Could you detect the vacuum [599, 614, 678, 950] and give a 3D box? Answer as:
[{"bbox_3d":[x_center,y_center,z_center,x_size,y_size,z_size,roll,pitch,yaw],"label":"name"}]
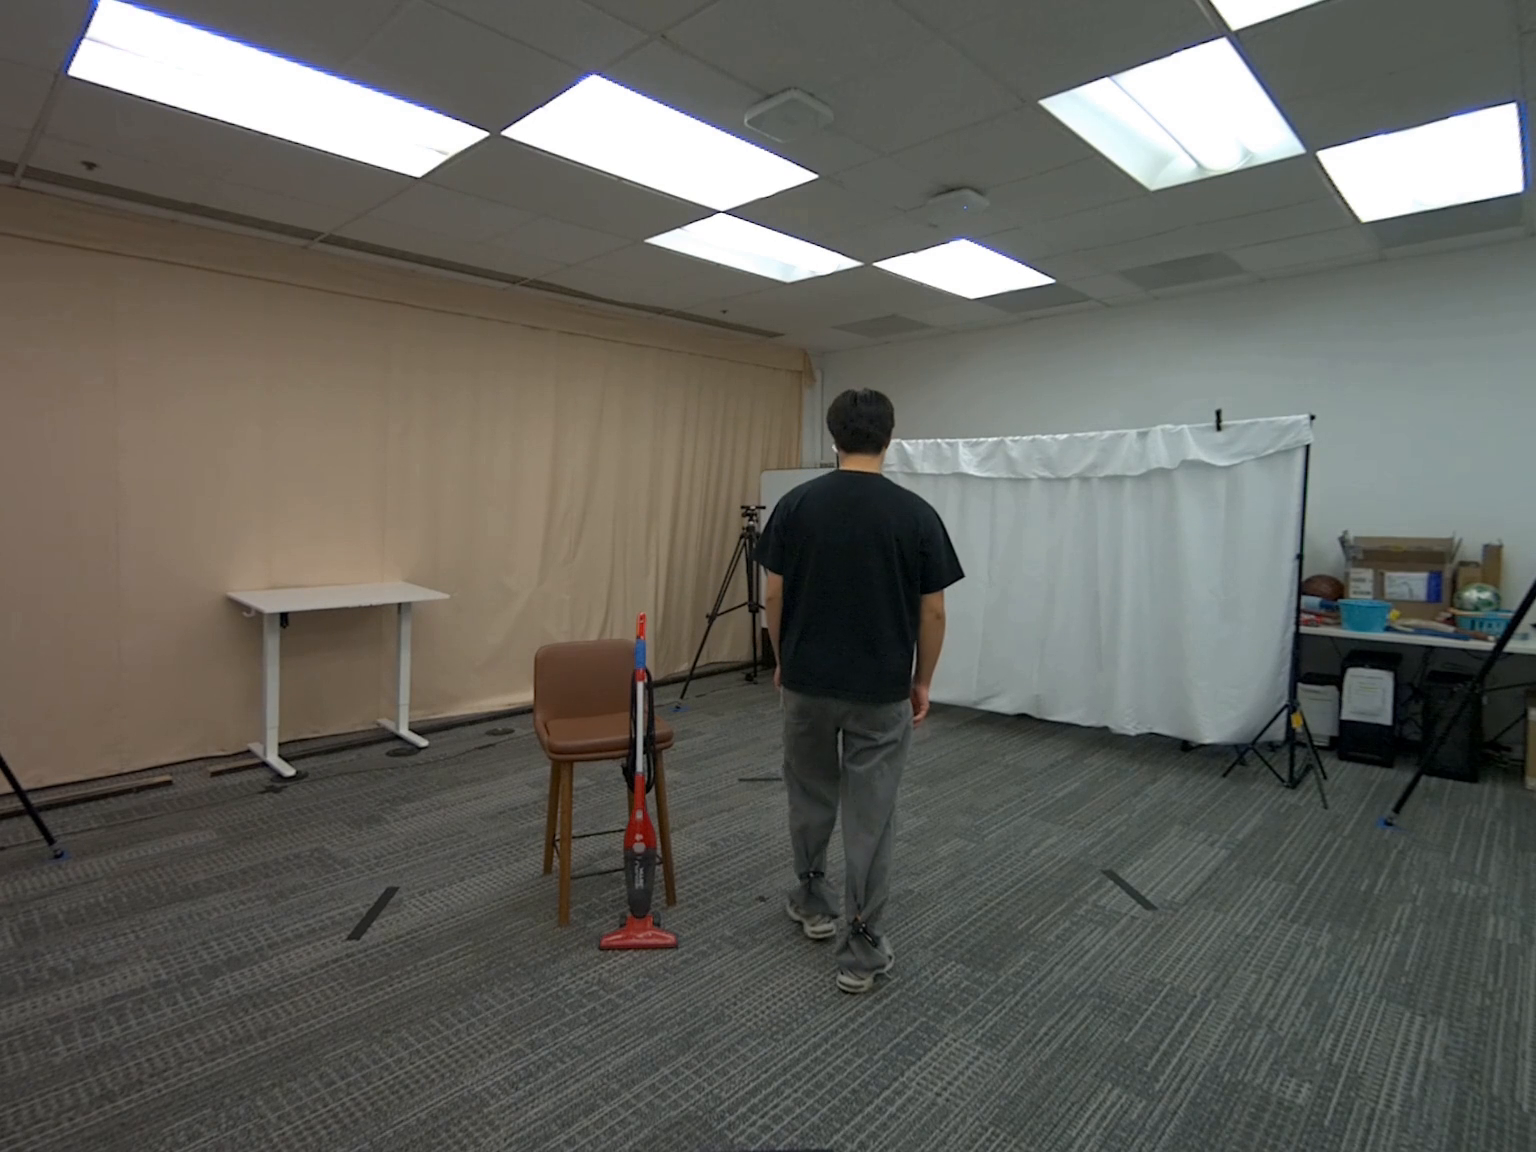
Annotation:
[{"bbox_3d":[-0.419,0.648,2.847,0.253,1.057,0.142,-2,-12,3],"label":"vacuum"}]
